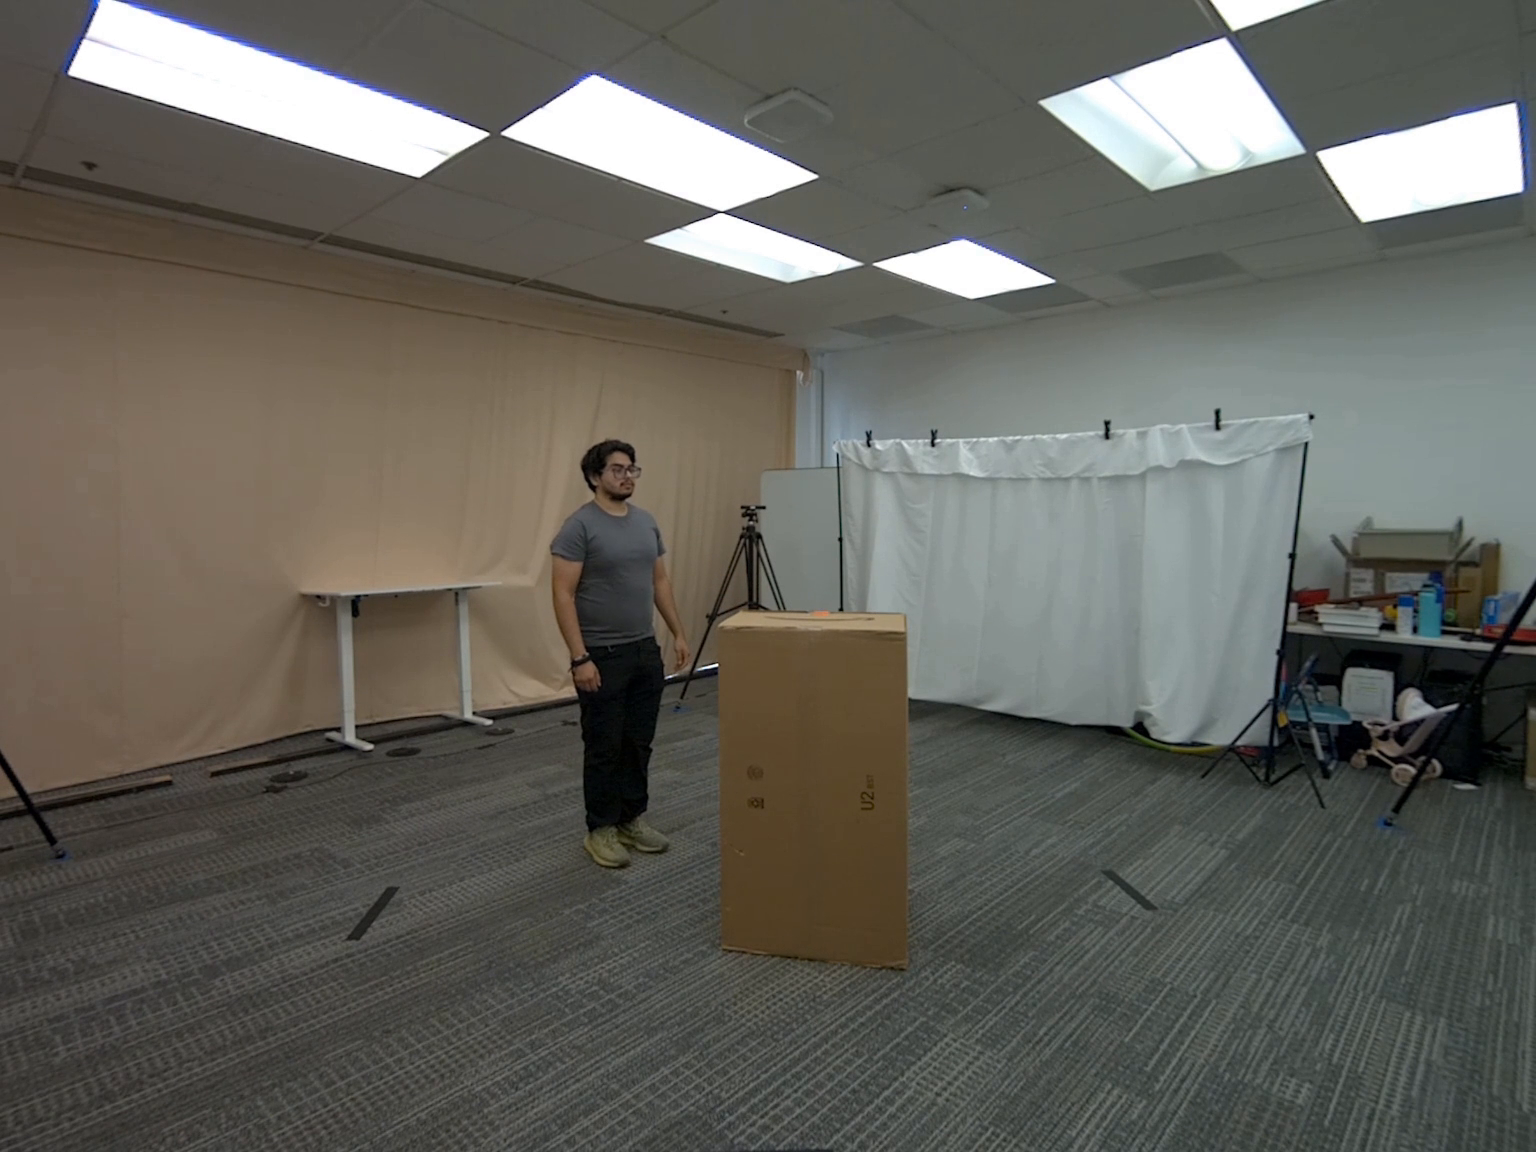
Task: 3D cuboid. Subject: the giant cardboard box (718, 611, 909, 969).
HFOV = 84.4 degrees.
[{"bbox_3d":[0.166,0.650,2.765,0.585,1.024,0.421,0,3,11],"label":"giant cardboard box"}]
